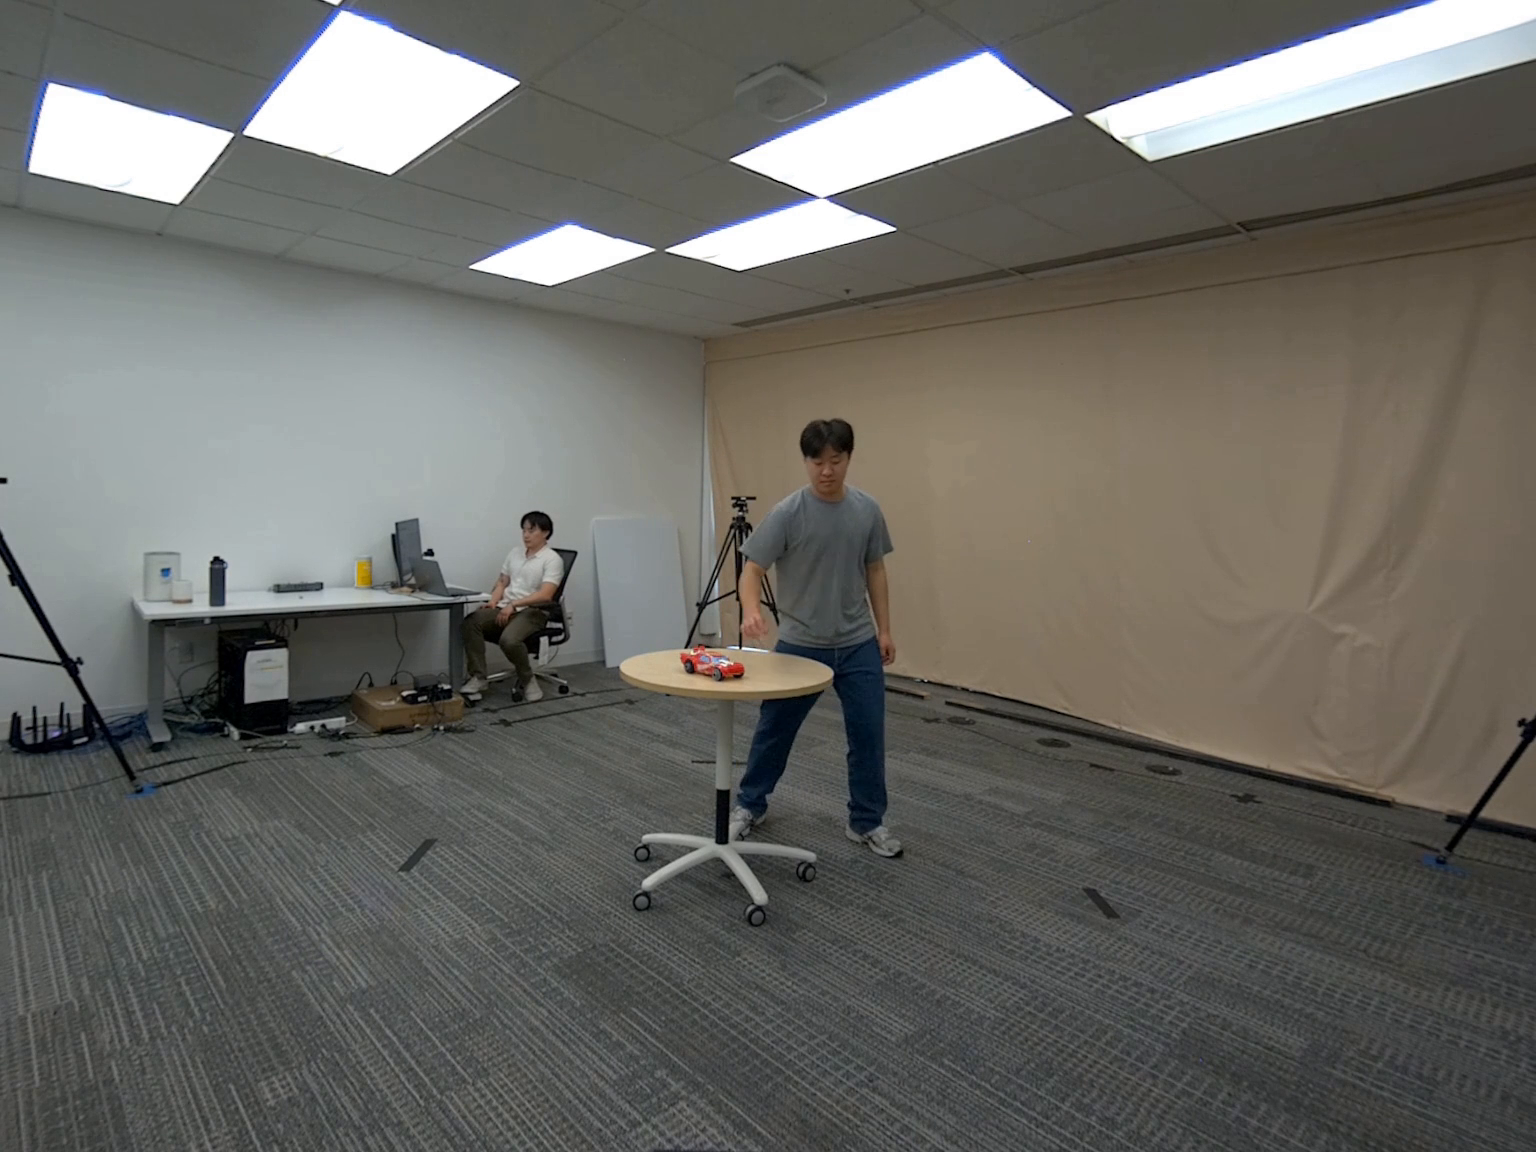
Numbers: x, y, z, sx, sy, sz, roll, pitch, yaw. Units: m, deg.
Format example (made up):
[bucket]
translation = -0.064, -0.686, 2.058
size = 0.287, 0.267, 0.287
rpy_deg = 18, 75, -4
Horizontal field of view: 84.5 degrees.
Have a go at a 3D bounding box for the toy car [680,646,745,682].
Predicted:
[toy car]
translation = -0.206, 0.308, 2.894
size = 0.127, 0.082, 0.262
rpy_deg = -3, 17, -42
